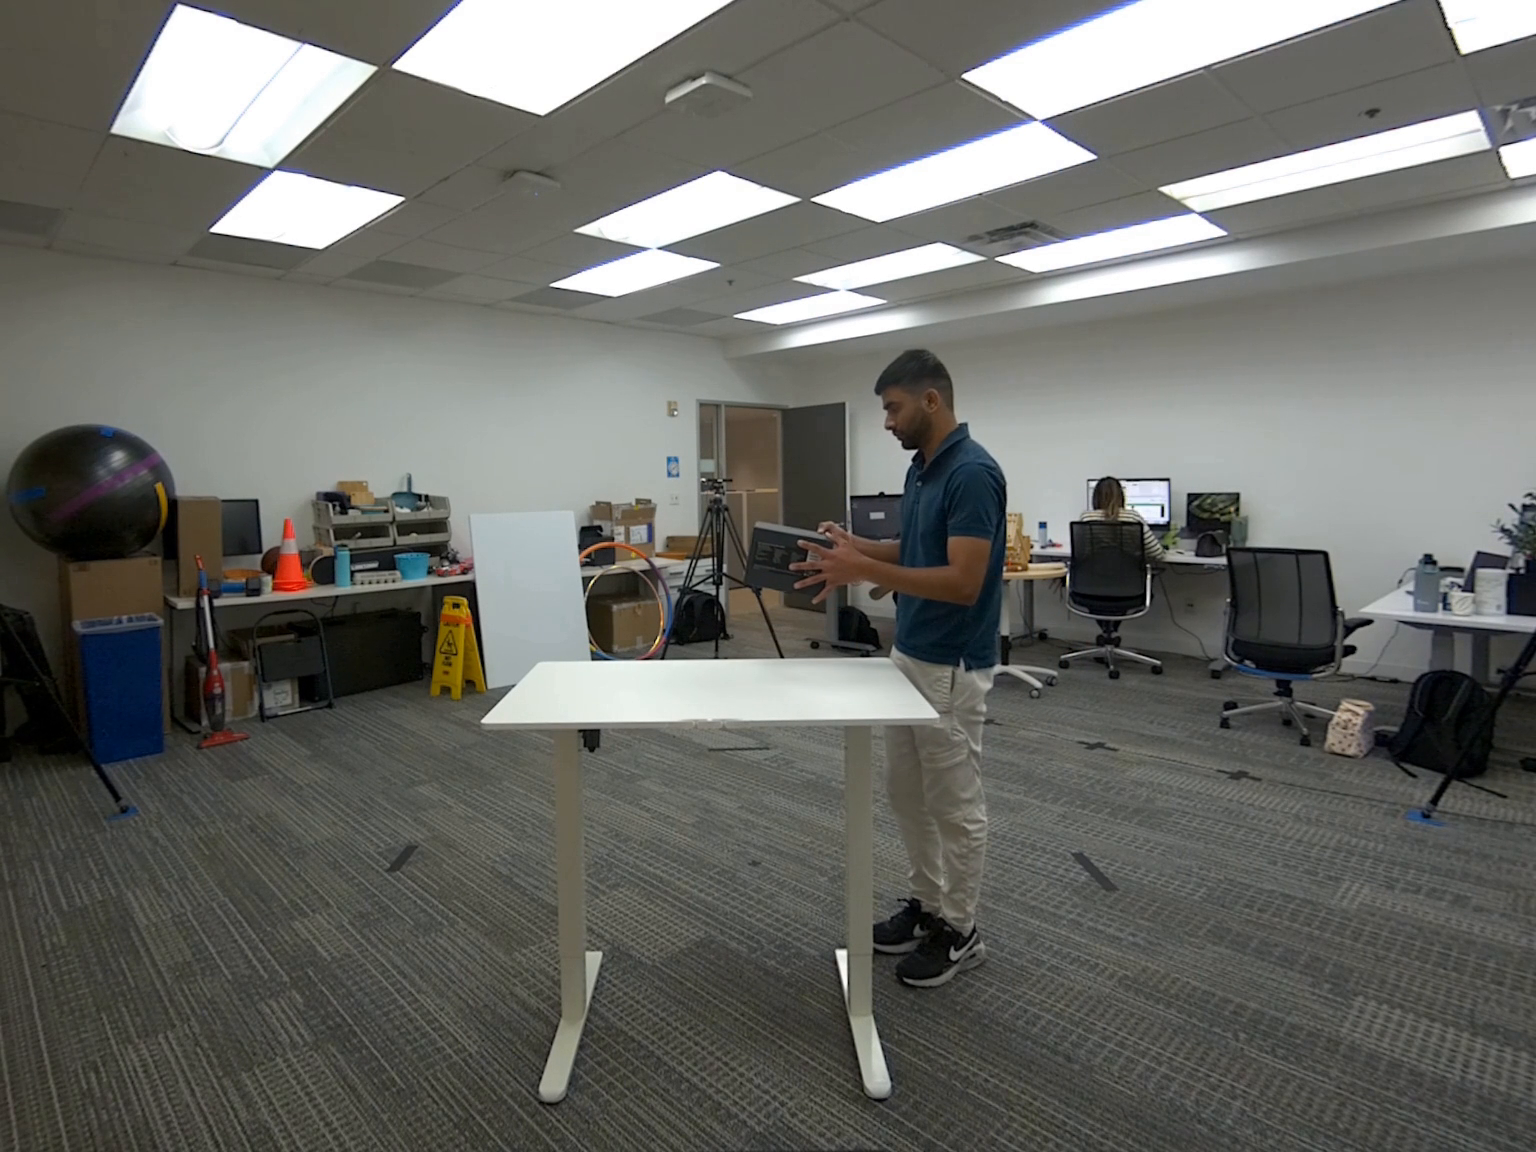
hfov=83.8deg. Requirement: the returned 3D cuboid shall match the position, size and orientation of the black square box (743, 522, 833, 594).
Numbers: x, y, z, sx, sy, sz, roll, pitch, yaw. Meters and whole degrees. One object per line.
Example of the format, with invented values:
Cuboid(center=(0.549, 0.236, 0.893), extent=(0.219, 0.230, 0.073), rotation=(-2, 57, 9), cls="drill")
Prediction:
Cuboid(center=(0.043, -0.052, 2.346), extent=(0.219, 0.155, 0.227), rotation=(12, 7, 6), cls="black square box")
